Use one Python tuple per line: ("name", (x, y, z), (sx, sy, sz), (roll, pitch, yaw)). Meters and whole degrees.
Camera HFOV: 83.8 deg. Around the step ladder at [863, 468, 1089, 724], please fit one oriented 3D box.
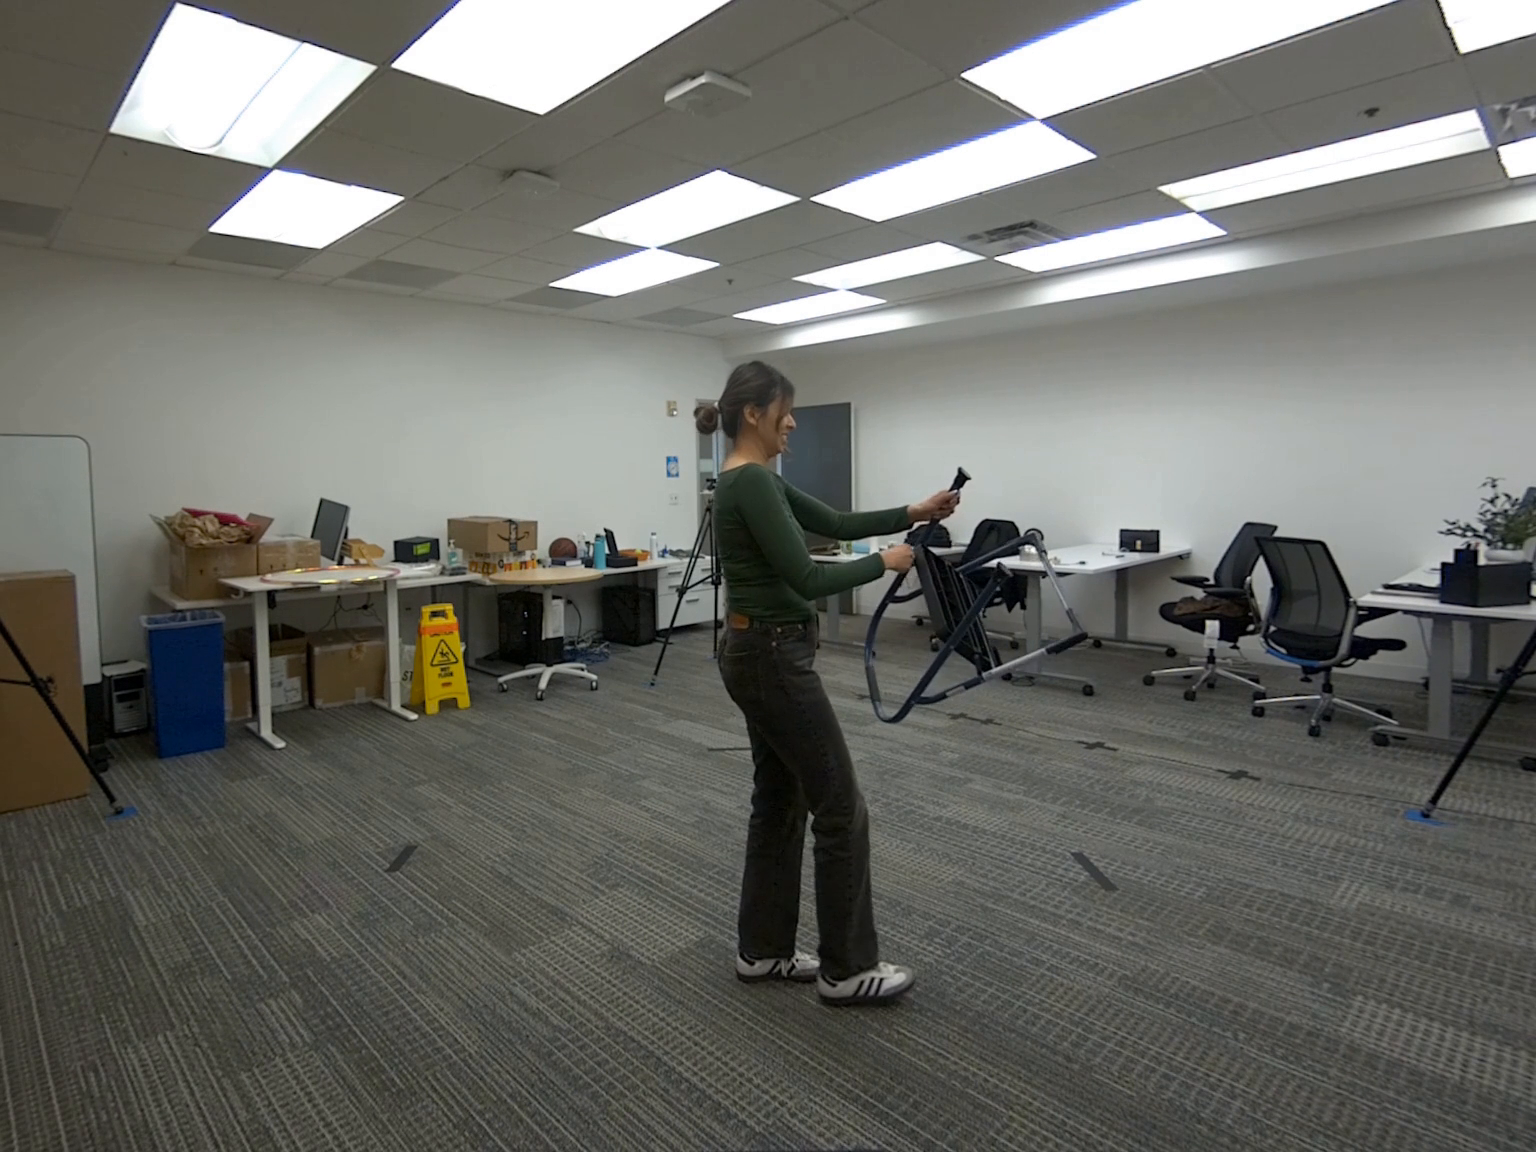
("step ladder", (0.448, 0.111, 2.295), (0.339, 0.442, 0.607), (33, -58, -25))
